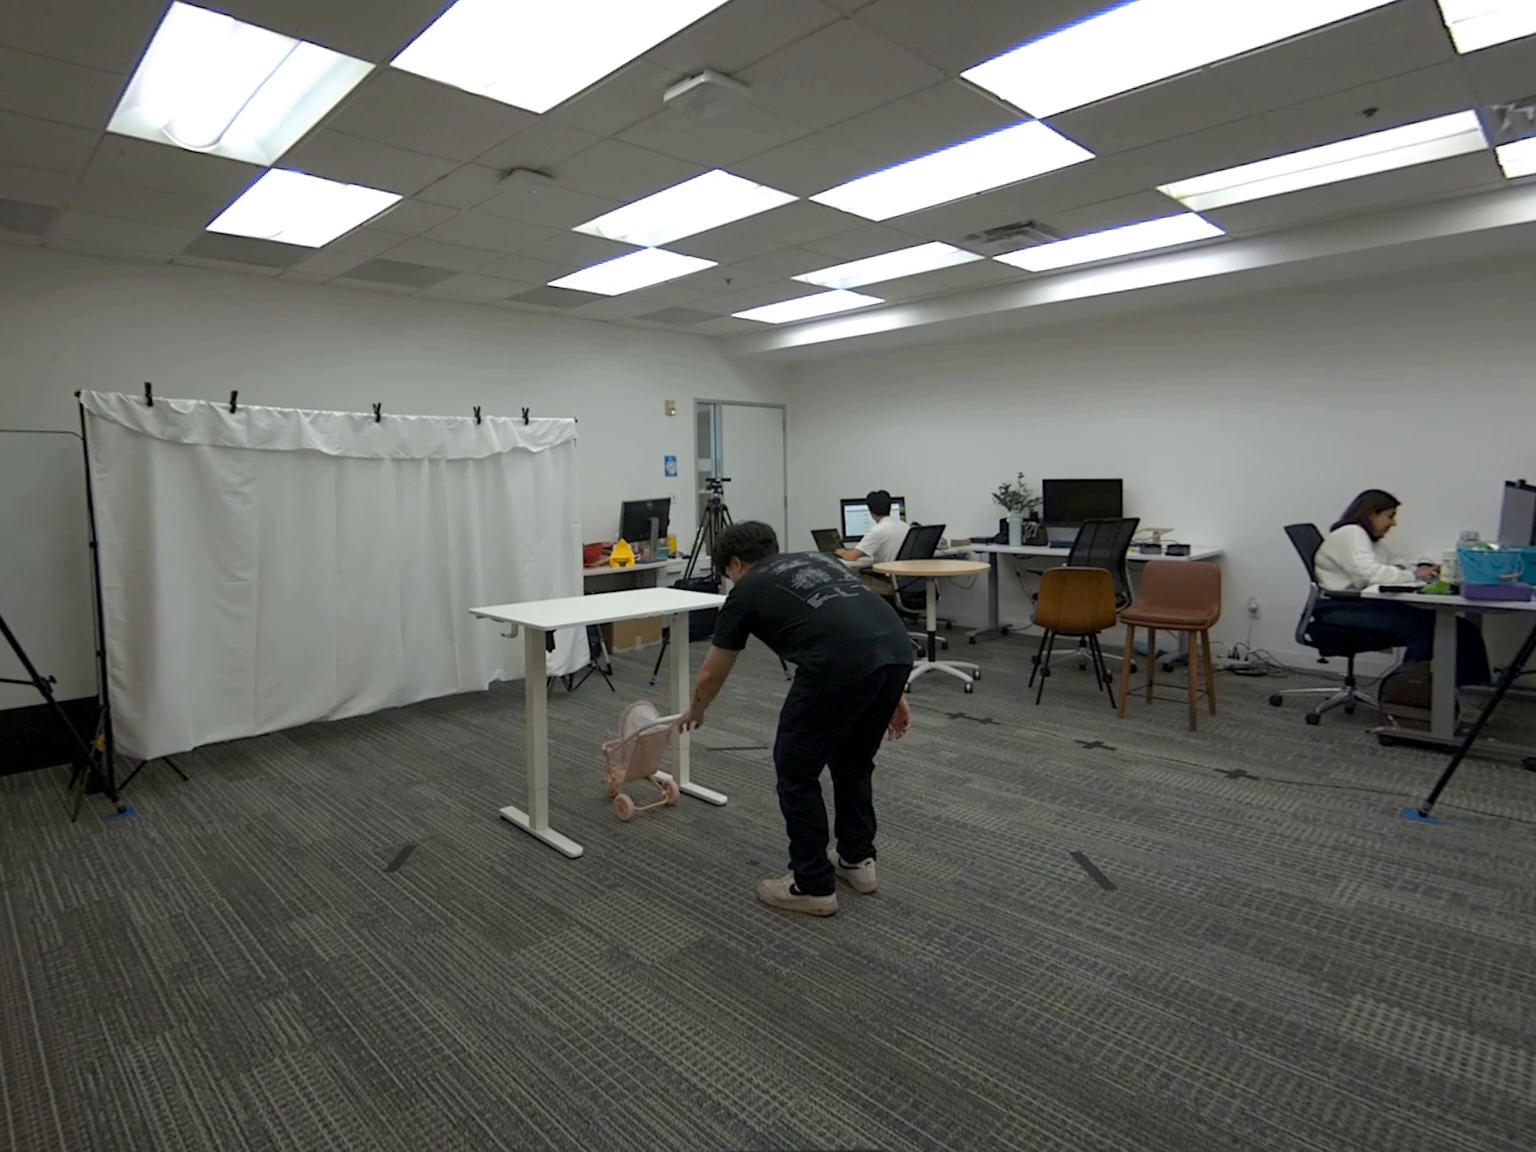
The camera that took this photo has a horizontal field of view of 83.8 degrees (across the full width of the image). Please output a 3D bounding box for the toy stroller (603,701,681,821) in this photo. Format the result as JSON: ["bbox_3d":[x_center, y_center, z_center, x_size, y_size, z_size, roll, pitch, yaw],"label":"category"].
[{"bbox_3d":[-0.554,0.765,3.641,0.274,0.529,0.354,-4,21,-41],"label":"toy stroller"}]
